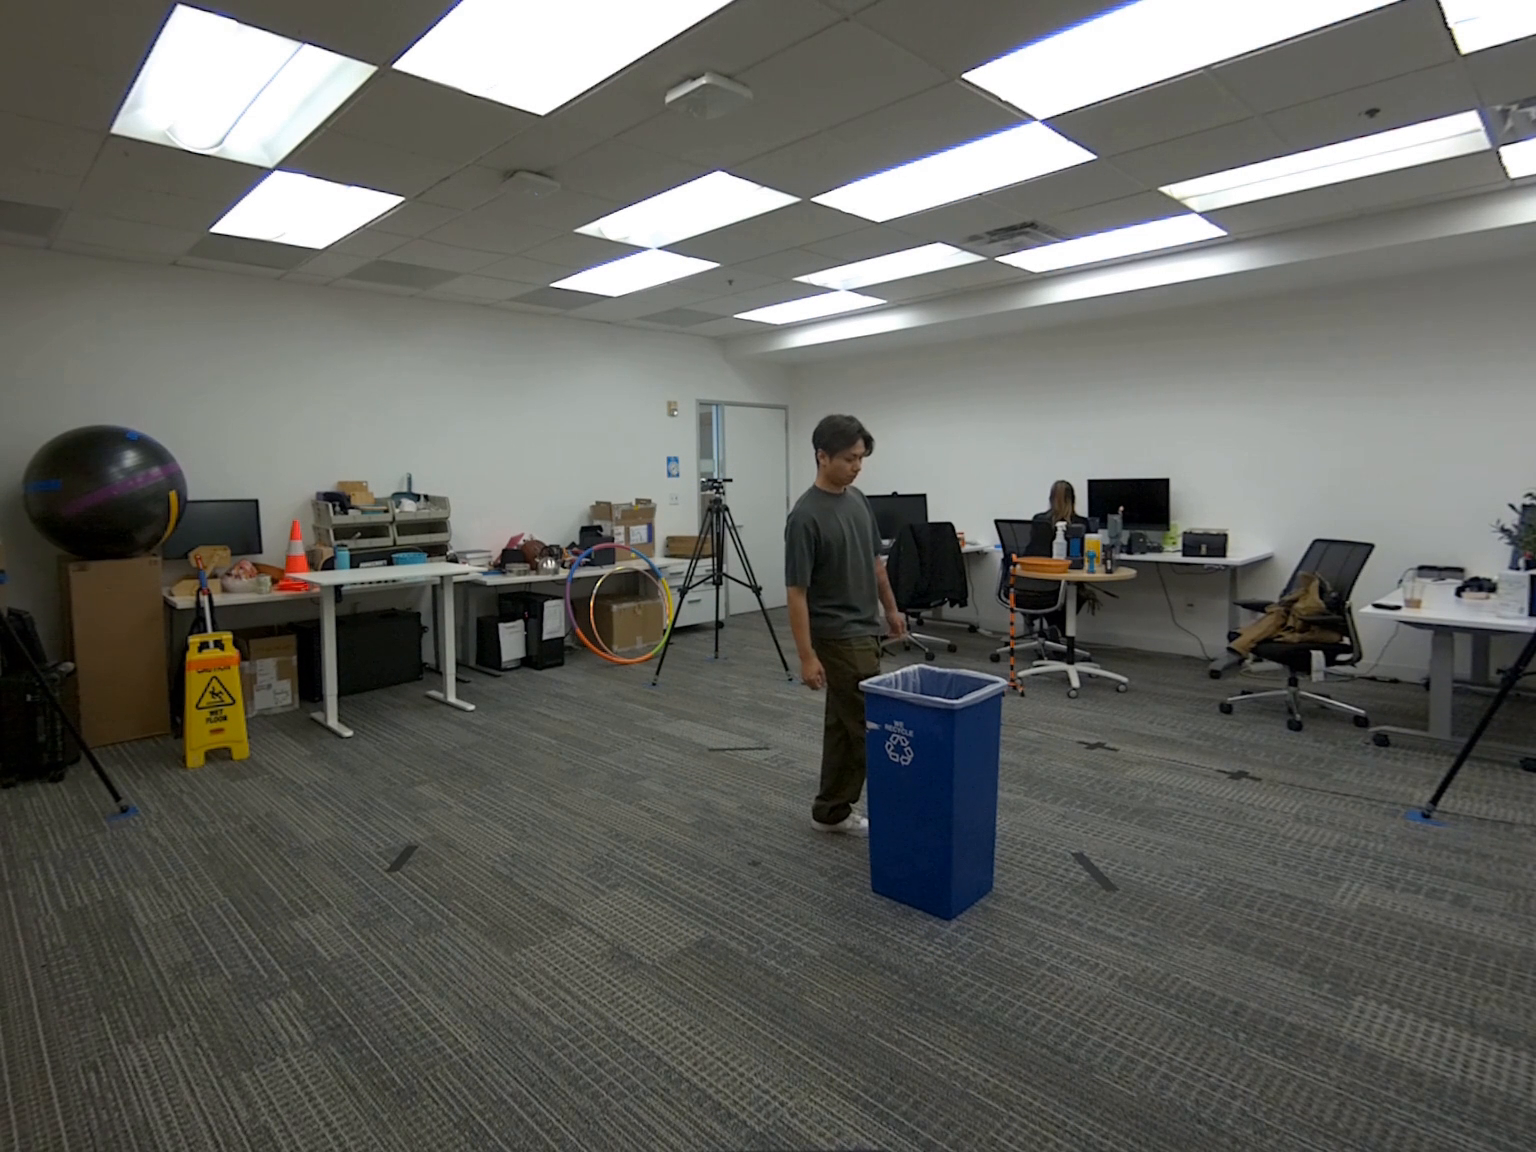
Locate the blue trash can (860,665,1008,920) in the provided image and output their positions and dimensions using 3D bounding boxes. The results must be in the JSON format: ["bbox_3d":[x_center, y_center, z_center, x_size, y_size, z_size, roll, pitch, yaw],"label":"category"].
[{"bbox_3d":[0.557,0.708,2.857,0.389,0.710,0.364,2,6,41],"label":"blue trash can"}]
